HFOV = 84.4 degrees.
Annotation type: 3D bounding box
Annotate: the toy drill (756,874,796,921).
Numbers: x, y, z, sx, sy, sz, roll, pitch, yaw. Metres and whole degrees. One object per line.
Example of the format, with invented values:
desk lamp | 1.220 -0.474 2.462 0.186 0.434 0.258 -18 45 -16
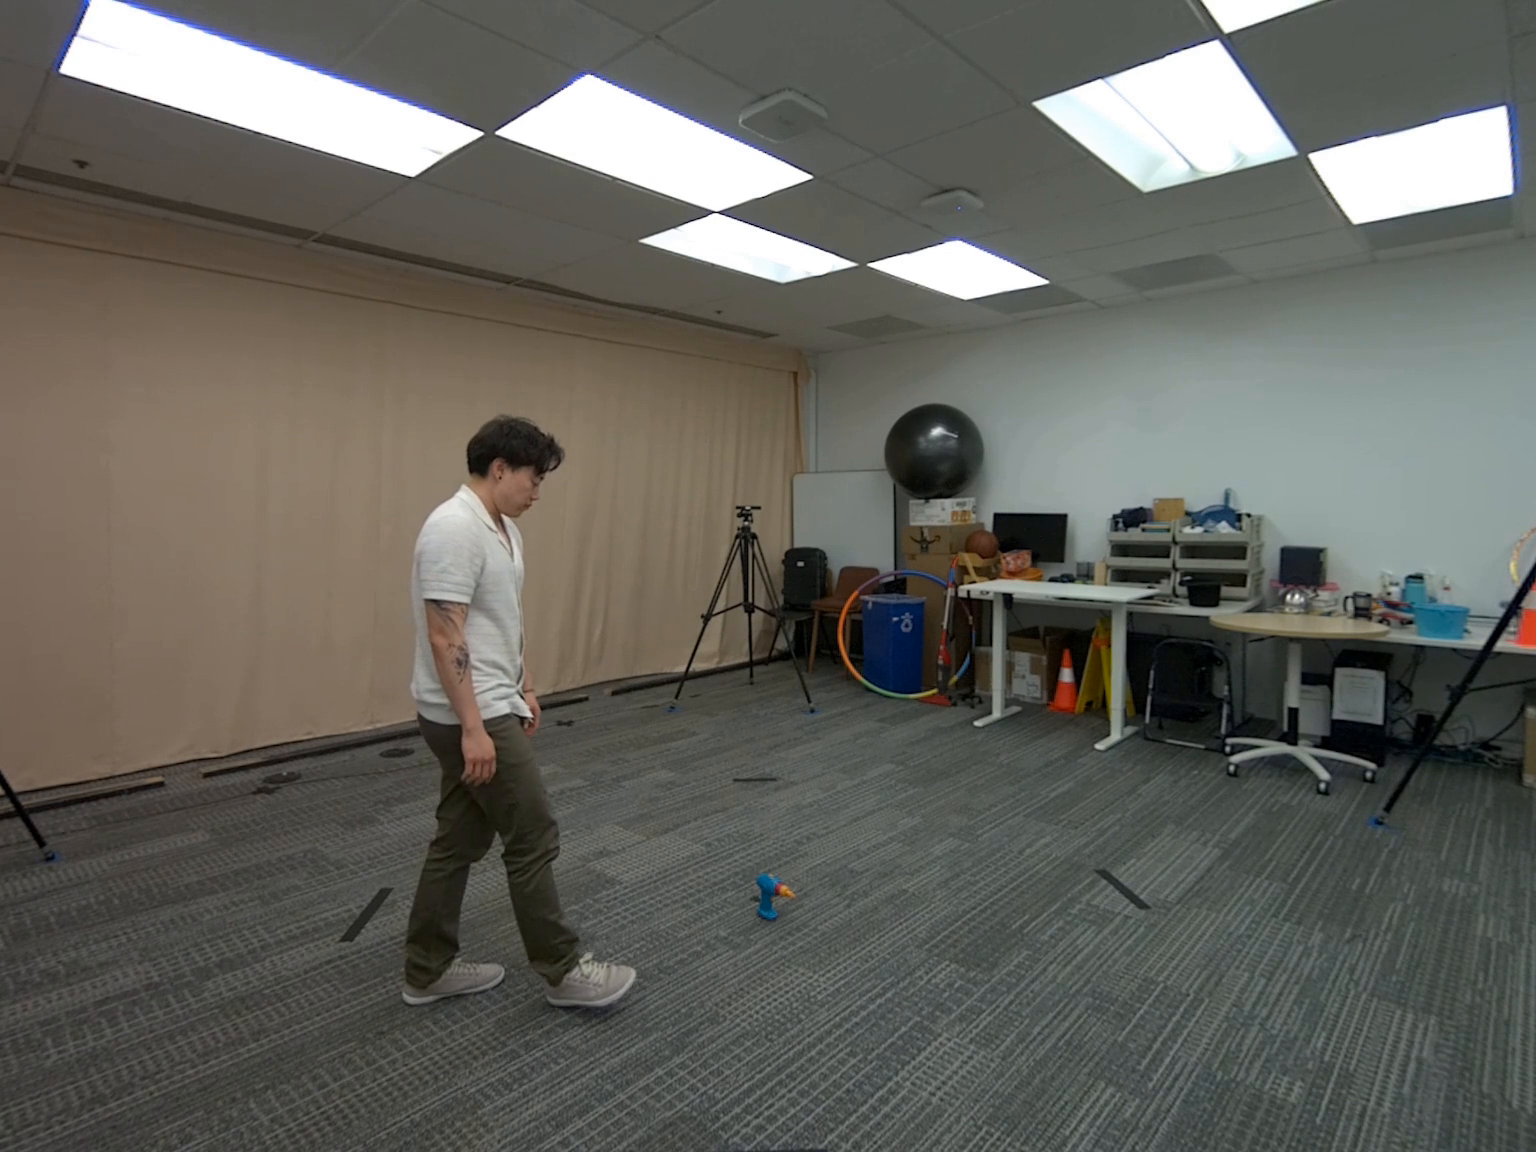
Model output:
toy drill | 0.029 1.089 2.823 0.175 0.145 0.059 6 7 43
